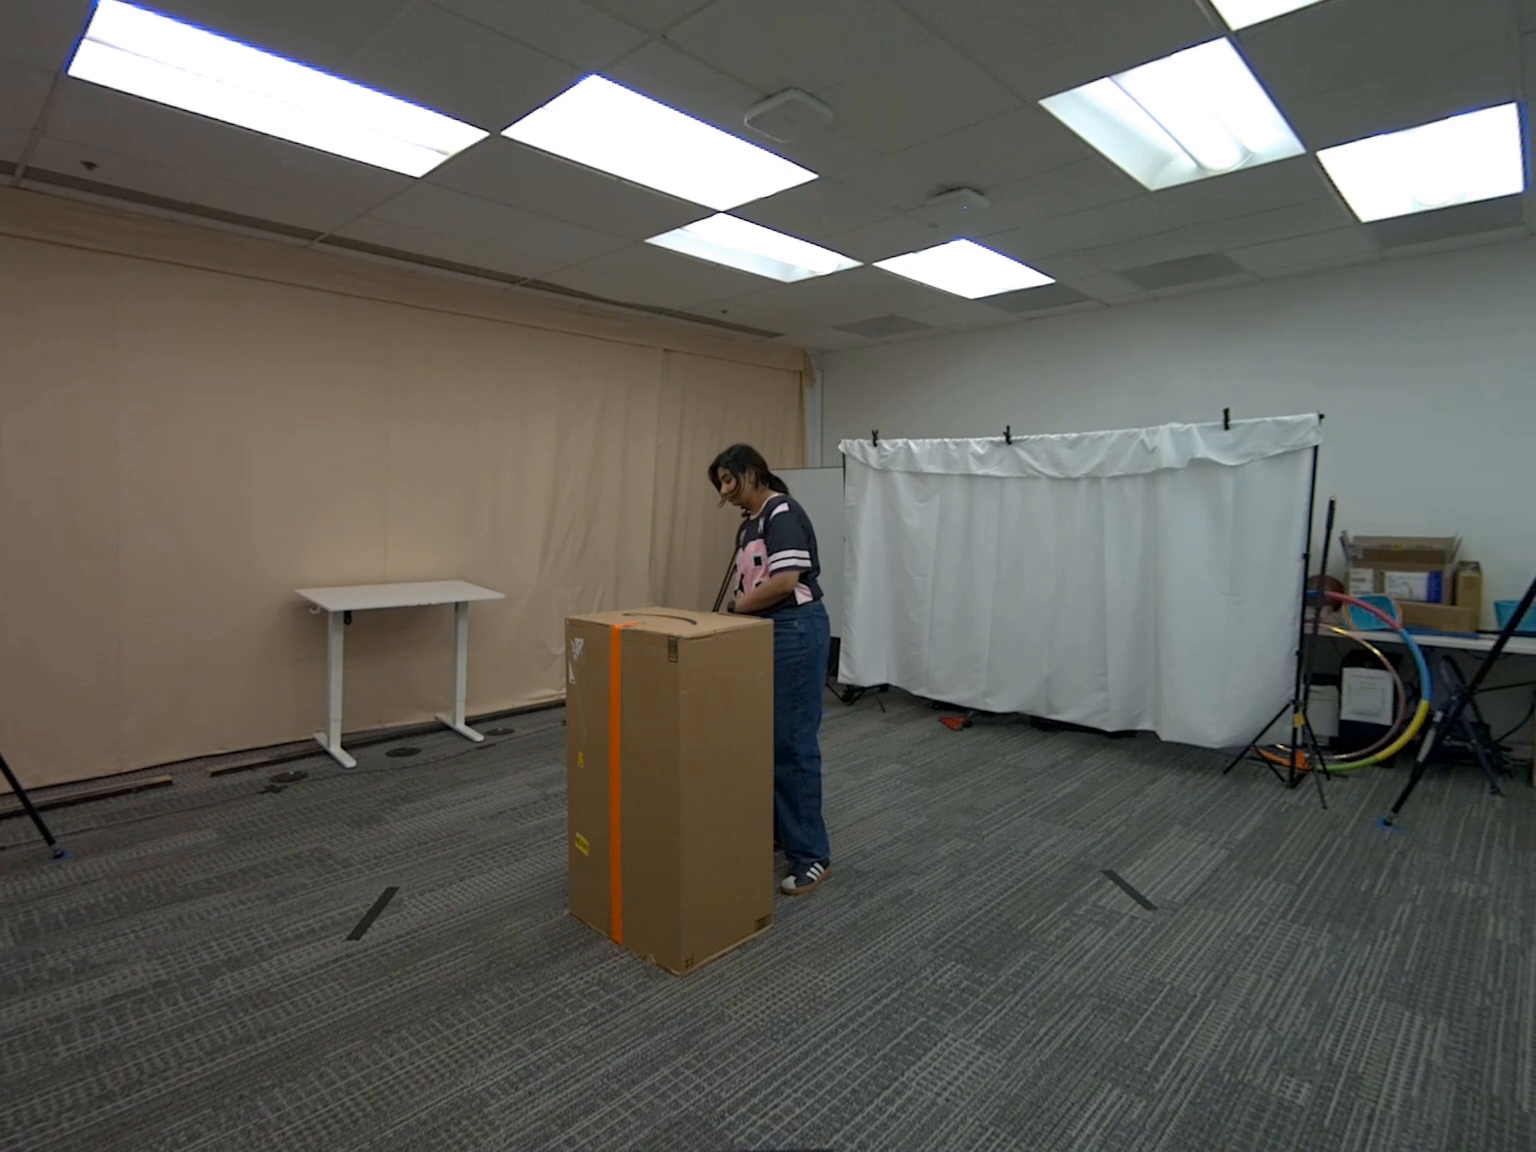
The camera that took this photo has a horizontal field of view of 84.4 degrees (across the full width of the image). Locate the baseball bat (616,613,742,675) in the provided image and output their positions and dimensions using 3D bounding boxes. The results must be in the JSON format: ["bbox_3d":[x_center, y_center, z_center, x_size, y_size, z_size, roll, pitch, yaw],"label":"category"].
[{"bbox_3d":[-0.370,0.275,3.429,0.554,0.089,0.087,-20,-6,28],"label":"baseball bat"}]
